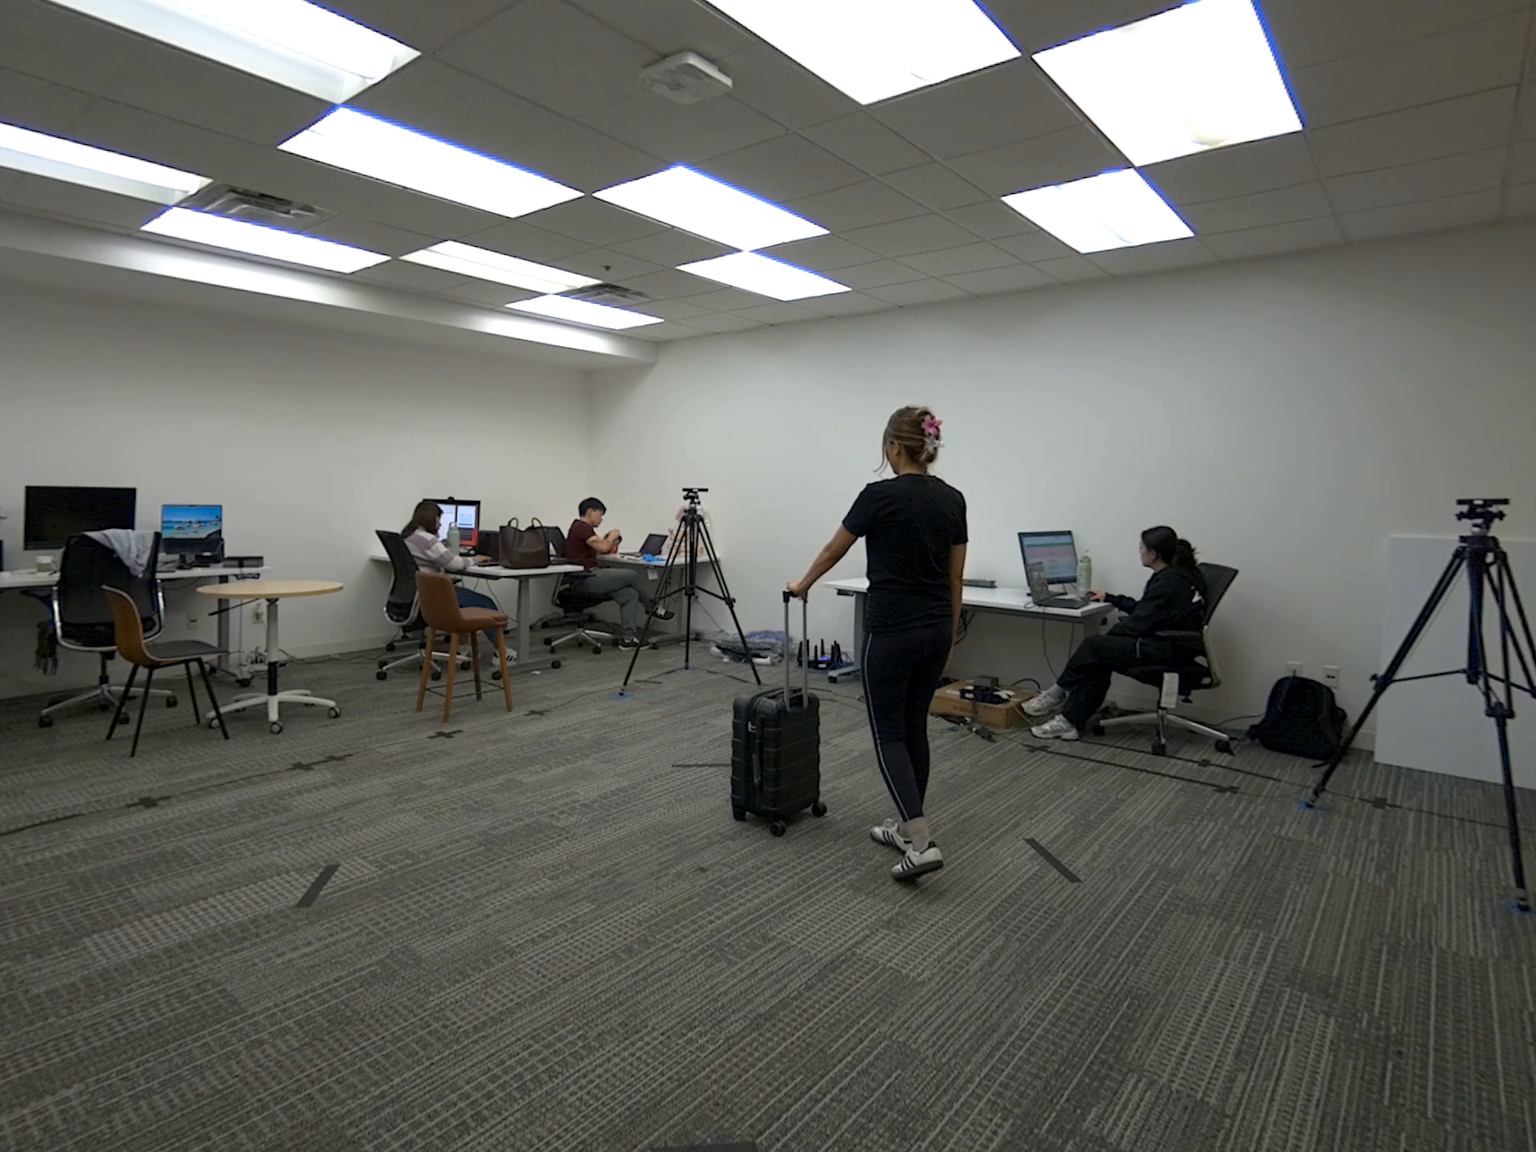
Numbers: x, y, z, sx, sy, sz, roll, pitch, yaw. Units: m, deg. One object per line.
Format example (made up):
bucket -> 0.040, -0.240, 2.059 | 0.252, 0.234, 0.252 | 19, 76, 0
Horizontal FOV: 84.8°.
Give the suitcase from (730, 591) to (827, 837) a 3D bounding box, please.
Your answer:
suitcase -> 0.019, 0.549, 3.621 | 0.265, 0.978, 0.372 | -1, 1, 41
